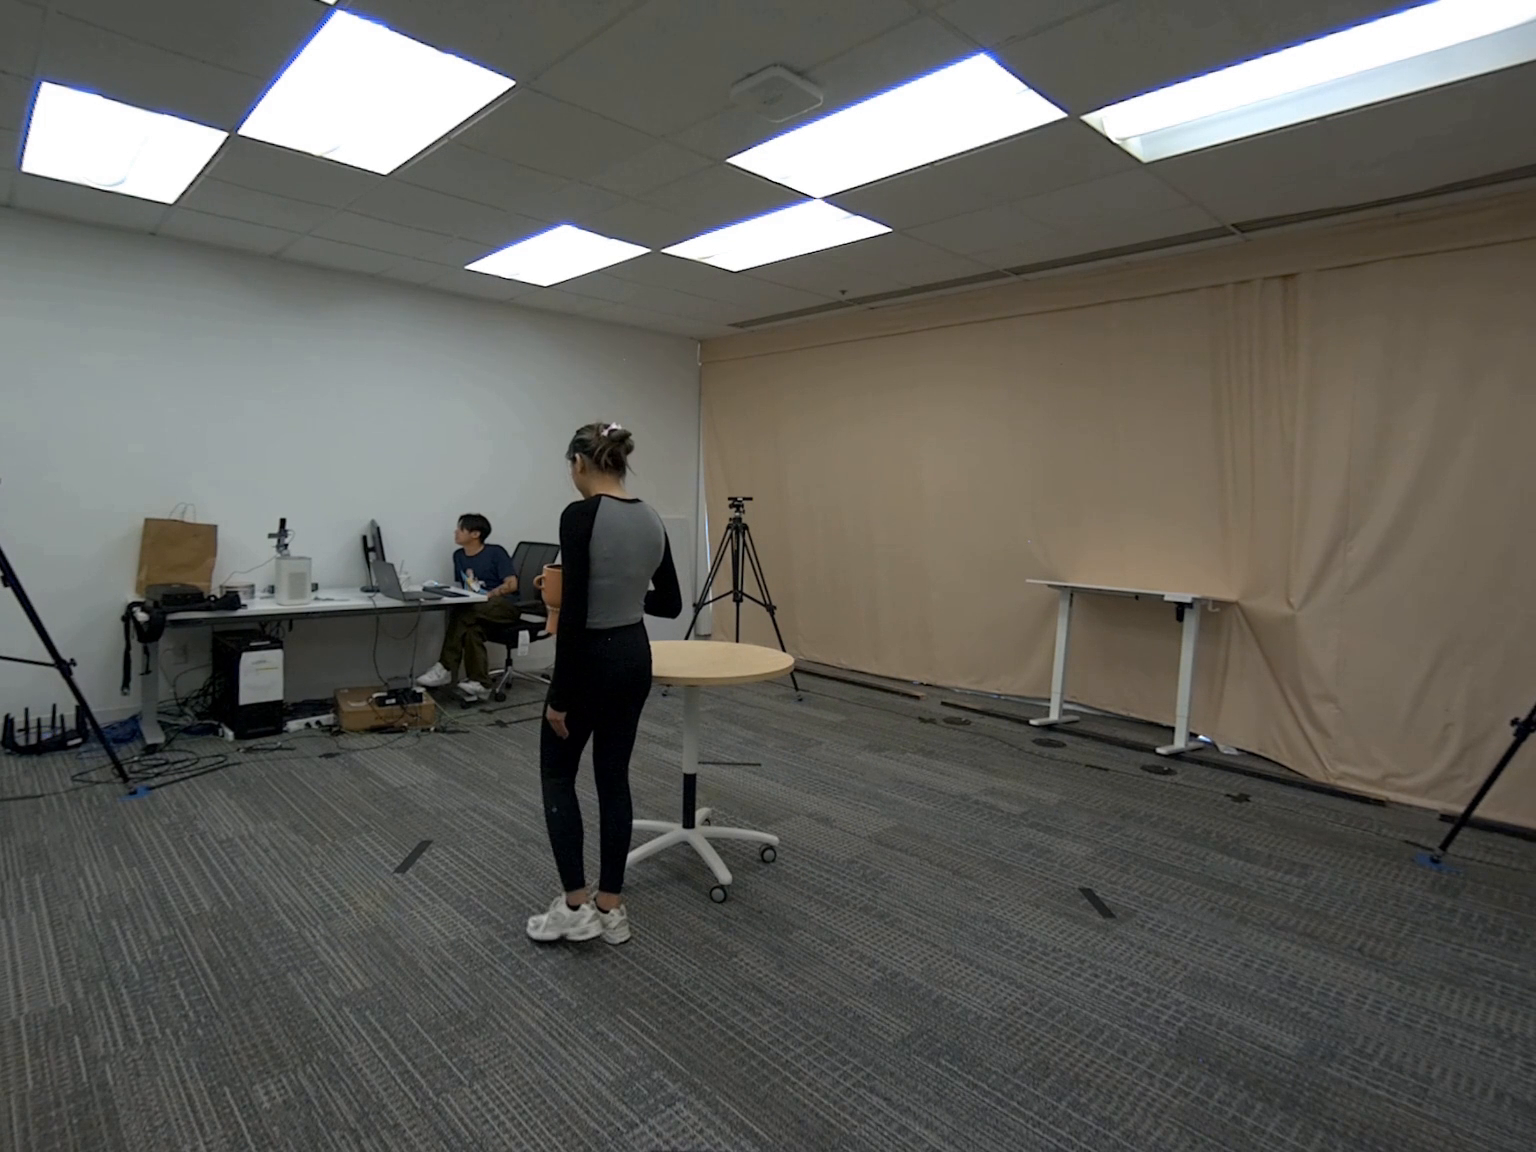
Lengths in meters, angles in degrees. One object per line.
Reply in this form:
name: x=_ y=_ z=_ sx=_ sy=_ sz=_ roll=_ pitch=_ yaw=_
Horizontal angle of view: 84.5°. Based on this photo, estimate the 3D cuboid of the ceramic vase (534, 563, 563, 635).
ceramic vase: x=-0.687 y=0.081 z=2.810 sx=0.159 sy=0.218 sz=0.135 roll=5 pitch=8 yaw=4
